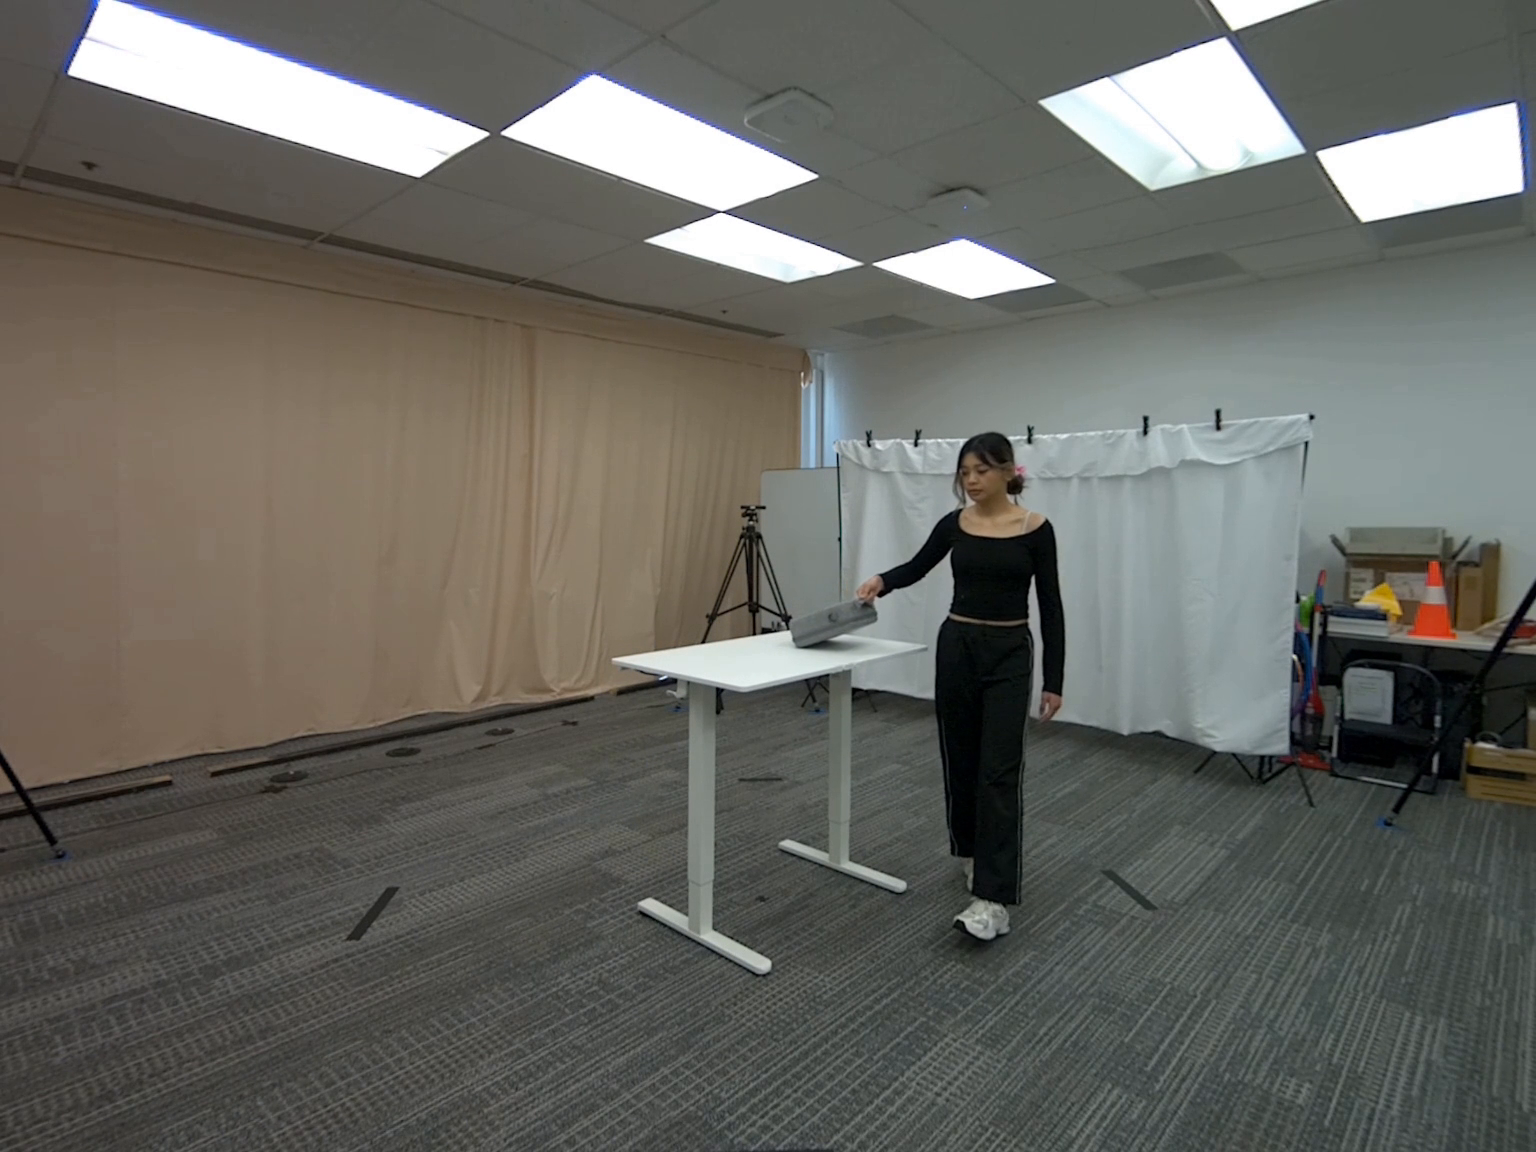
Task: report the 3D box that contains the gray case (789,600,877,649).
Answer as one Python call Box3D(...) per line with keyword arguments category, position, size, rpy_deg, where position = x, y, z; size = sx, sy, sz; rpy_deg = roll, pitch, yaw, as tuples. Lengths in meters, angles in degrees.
Box3D(category="gray case", position=(0.237, 0.166, 3.046), size=(0.266, 0.105, 0.250), rpy_deg=(-23, -9, 31))
